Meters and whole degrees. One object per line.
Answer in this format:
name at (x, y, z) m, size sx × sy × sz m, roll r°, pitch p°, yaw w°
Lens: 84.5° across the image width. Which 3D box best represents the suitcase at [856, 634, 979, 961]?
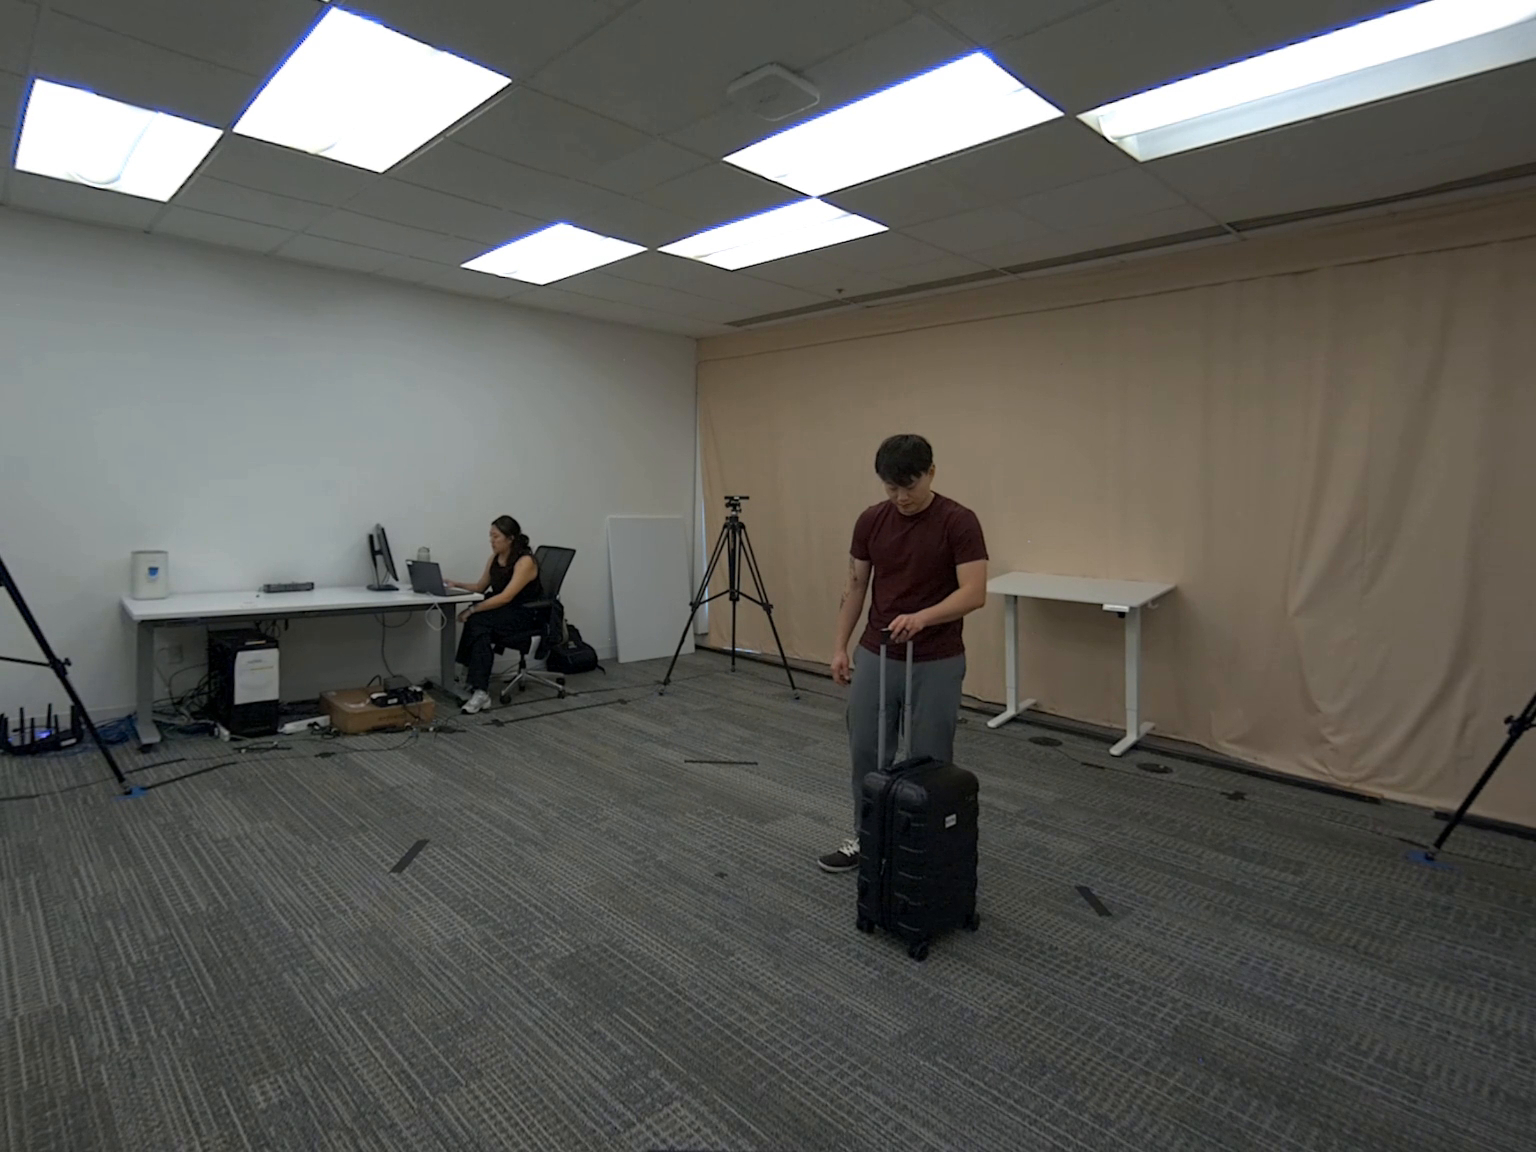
suitcase at (0.490, 0.680, 2.689) m, size 0.375 × 0.974 × 0.264 m, roll -4°, pitch 8°, yaw -41°
